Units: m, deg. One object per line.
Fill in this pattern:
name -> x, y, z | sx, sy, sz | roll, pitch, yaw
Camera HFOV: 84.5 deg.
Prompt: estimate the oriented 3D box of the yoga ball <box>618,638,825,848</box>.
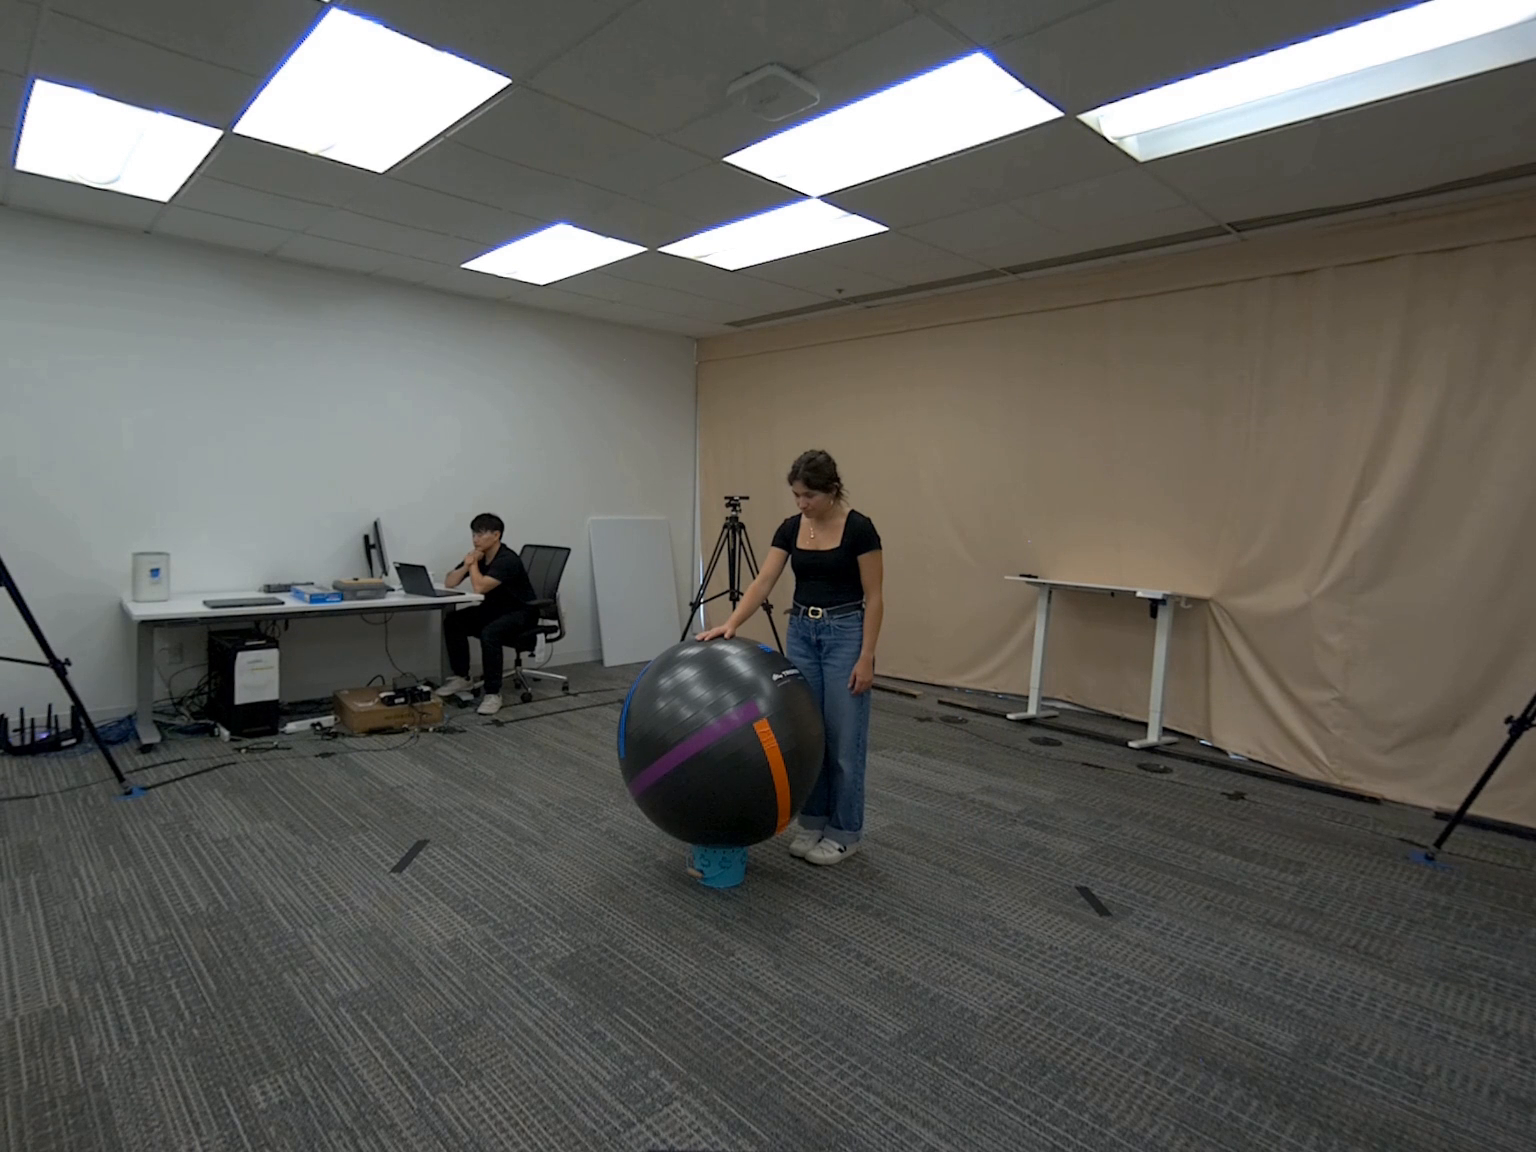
yoga ball -> -0.179, 0.597, 3.067 | 0.757, 0.756, 0.761 | 1, 4, -1
